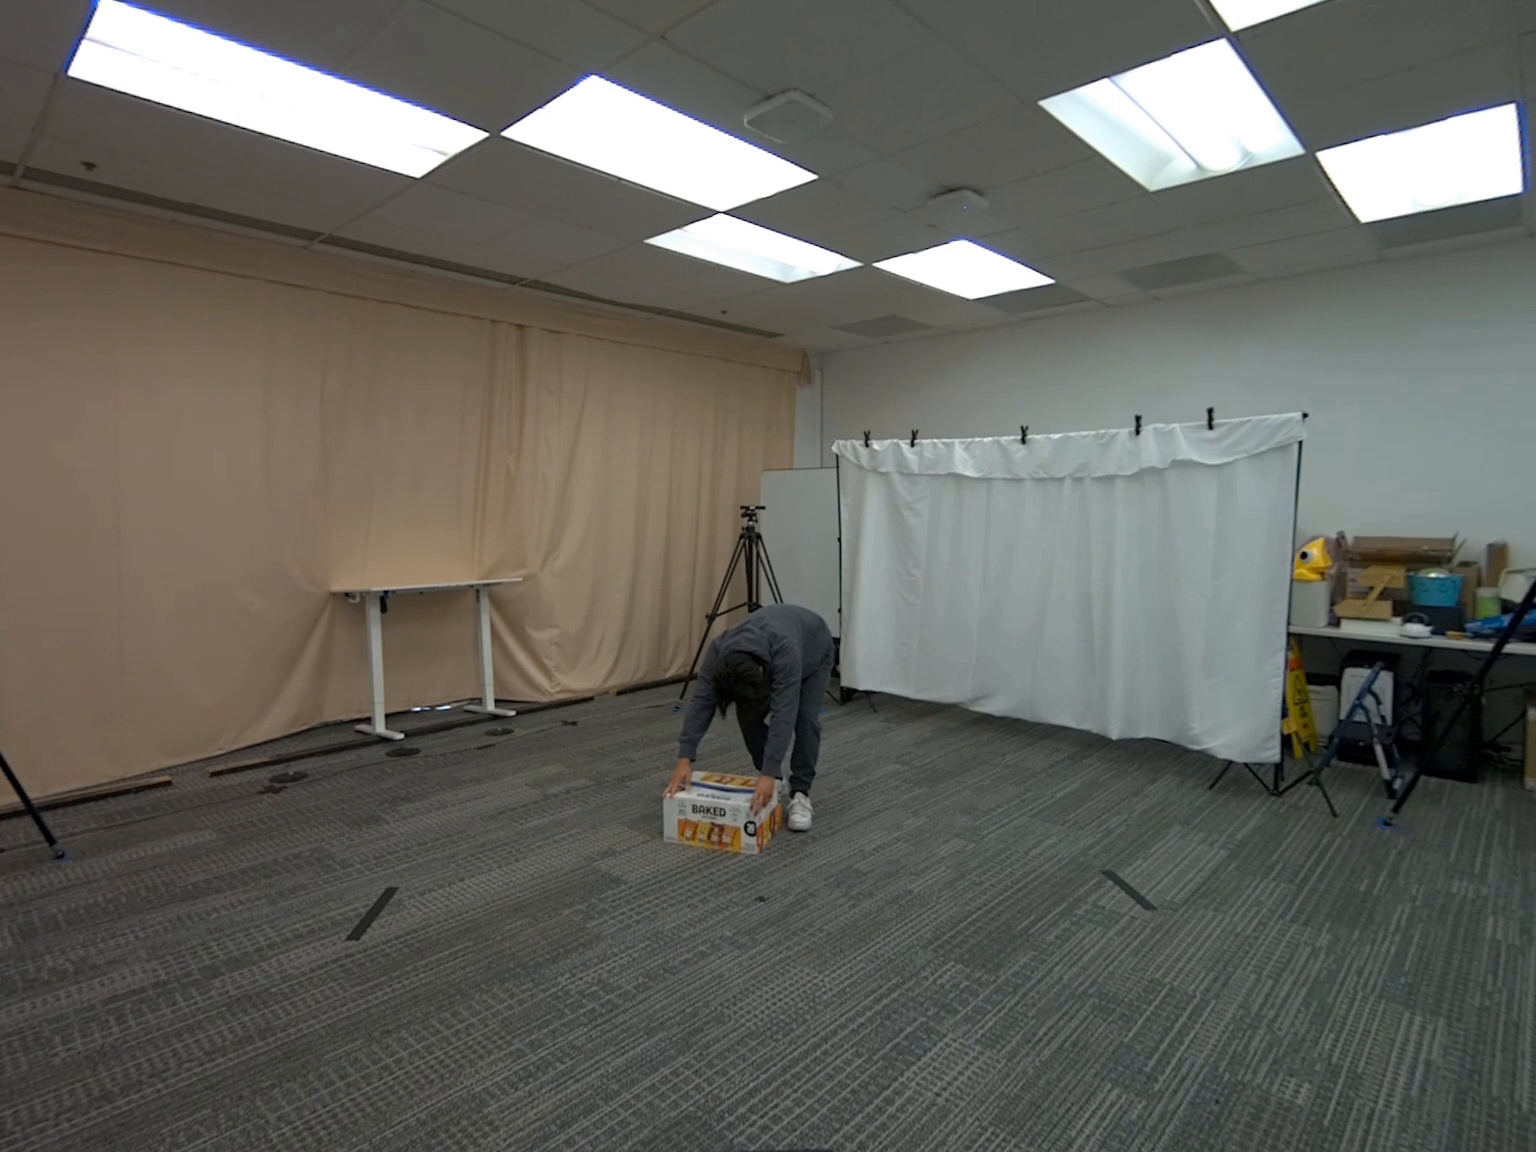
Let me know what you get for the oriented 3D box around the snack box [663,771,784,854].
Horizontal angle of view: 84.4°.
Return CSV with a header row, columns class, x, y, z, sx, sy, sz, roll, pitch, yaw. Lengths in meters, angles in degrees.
class,x,y,z,sx,sy,sz,roll,pitch,yaw
snack box,-0.189,0.998,3.576,0.414,0.205,0.334,1,4,19
